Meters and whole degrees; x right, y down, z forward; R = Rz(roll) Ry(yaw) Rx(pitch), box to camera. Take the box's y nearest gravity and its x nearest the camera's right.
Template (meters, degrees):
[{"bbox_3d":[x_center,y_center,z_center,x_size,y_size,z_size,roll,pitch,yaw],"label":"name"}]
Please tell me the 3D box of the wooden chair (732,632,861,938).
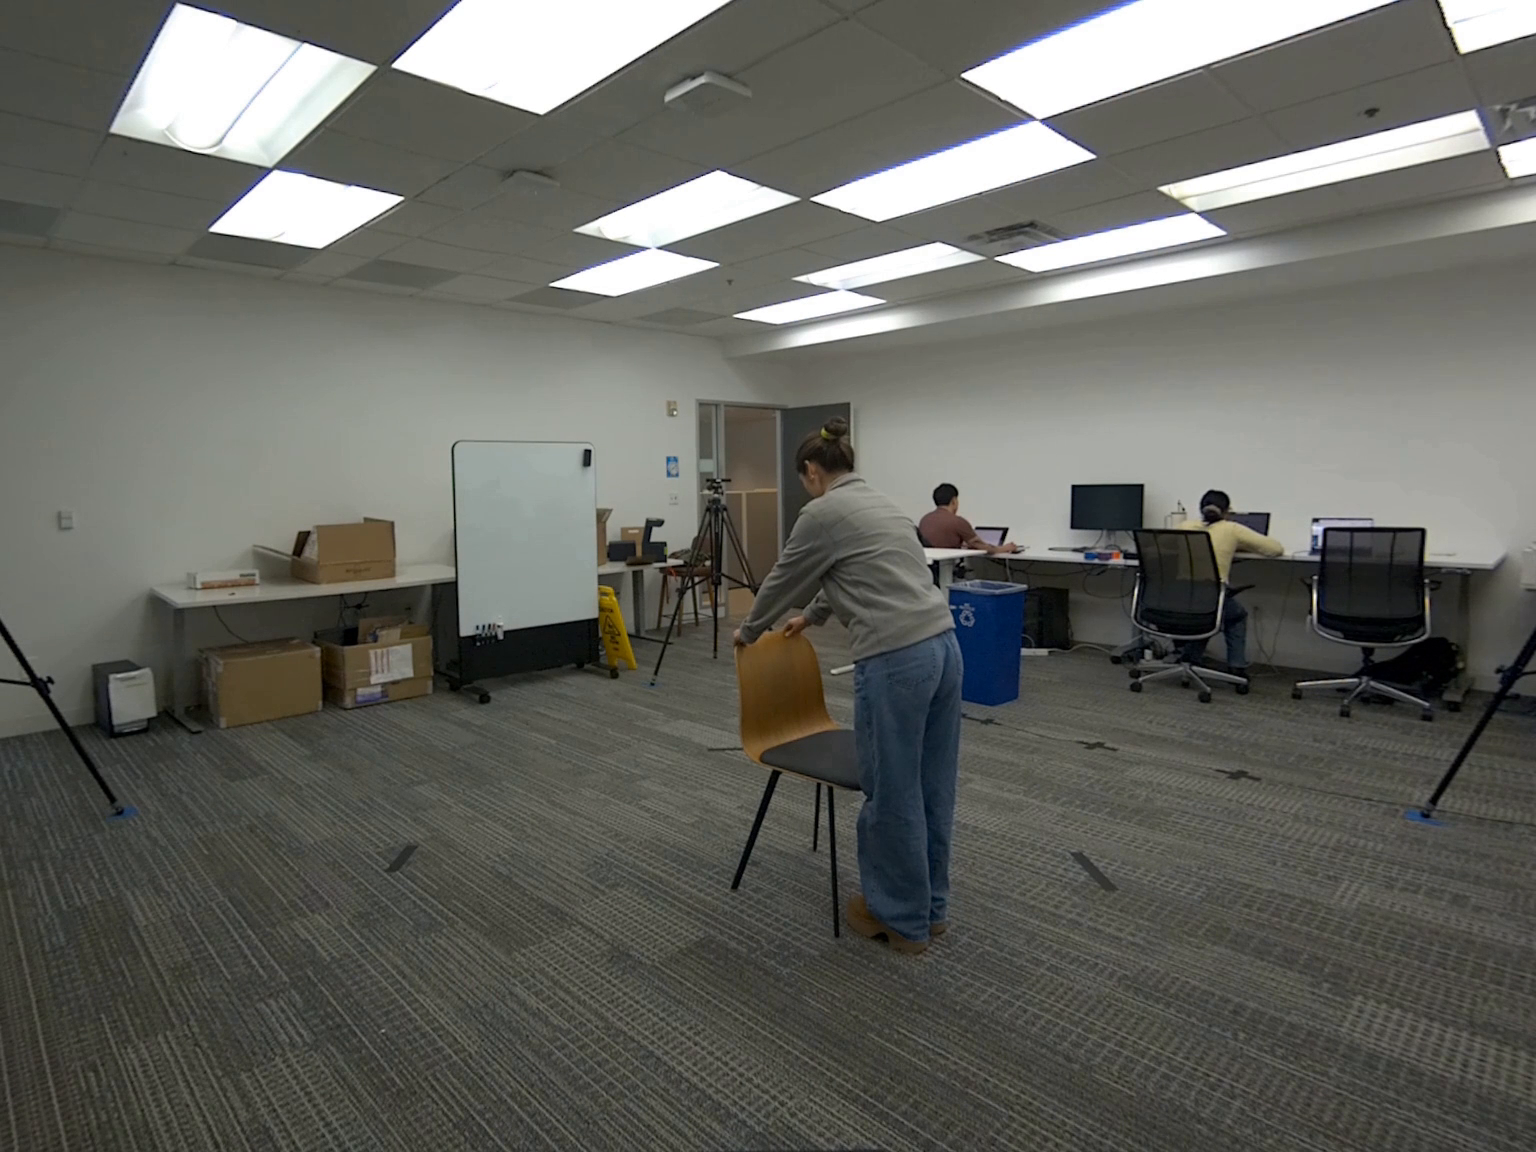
[{"bbox_3d":[0.190,0.640,2.874,0.538,0.876,0.465,-3,2,44],"label":"wooden chair"}]
